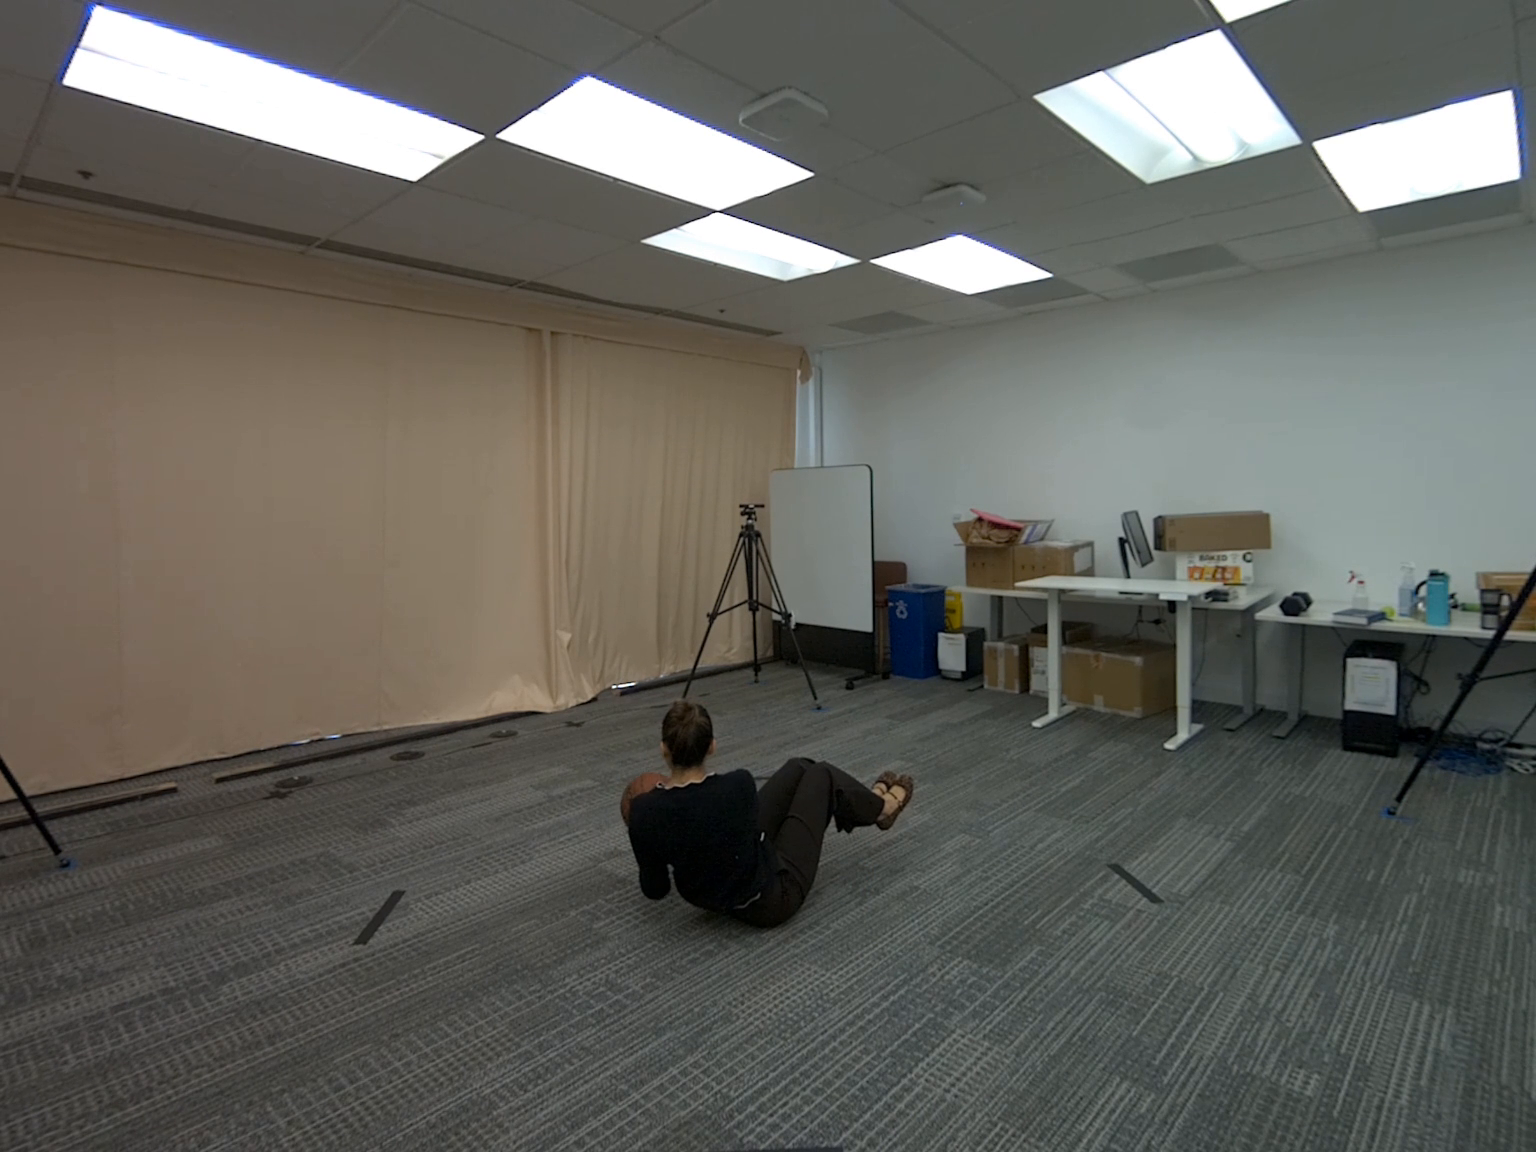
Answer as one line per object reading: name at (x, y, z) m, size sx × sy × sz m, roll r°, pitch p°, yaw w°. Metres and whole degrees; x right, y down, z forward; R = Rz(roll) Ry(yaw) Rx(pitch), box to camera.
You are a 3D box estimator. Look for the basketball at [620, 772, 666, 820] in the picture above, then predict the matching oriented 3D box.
basketball at (-0.420, 0.848, 3.144) m, size 0.236 × 0.235 × 0.237 m, roll -1°, pitch 4°, yaw -2°
